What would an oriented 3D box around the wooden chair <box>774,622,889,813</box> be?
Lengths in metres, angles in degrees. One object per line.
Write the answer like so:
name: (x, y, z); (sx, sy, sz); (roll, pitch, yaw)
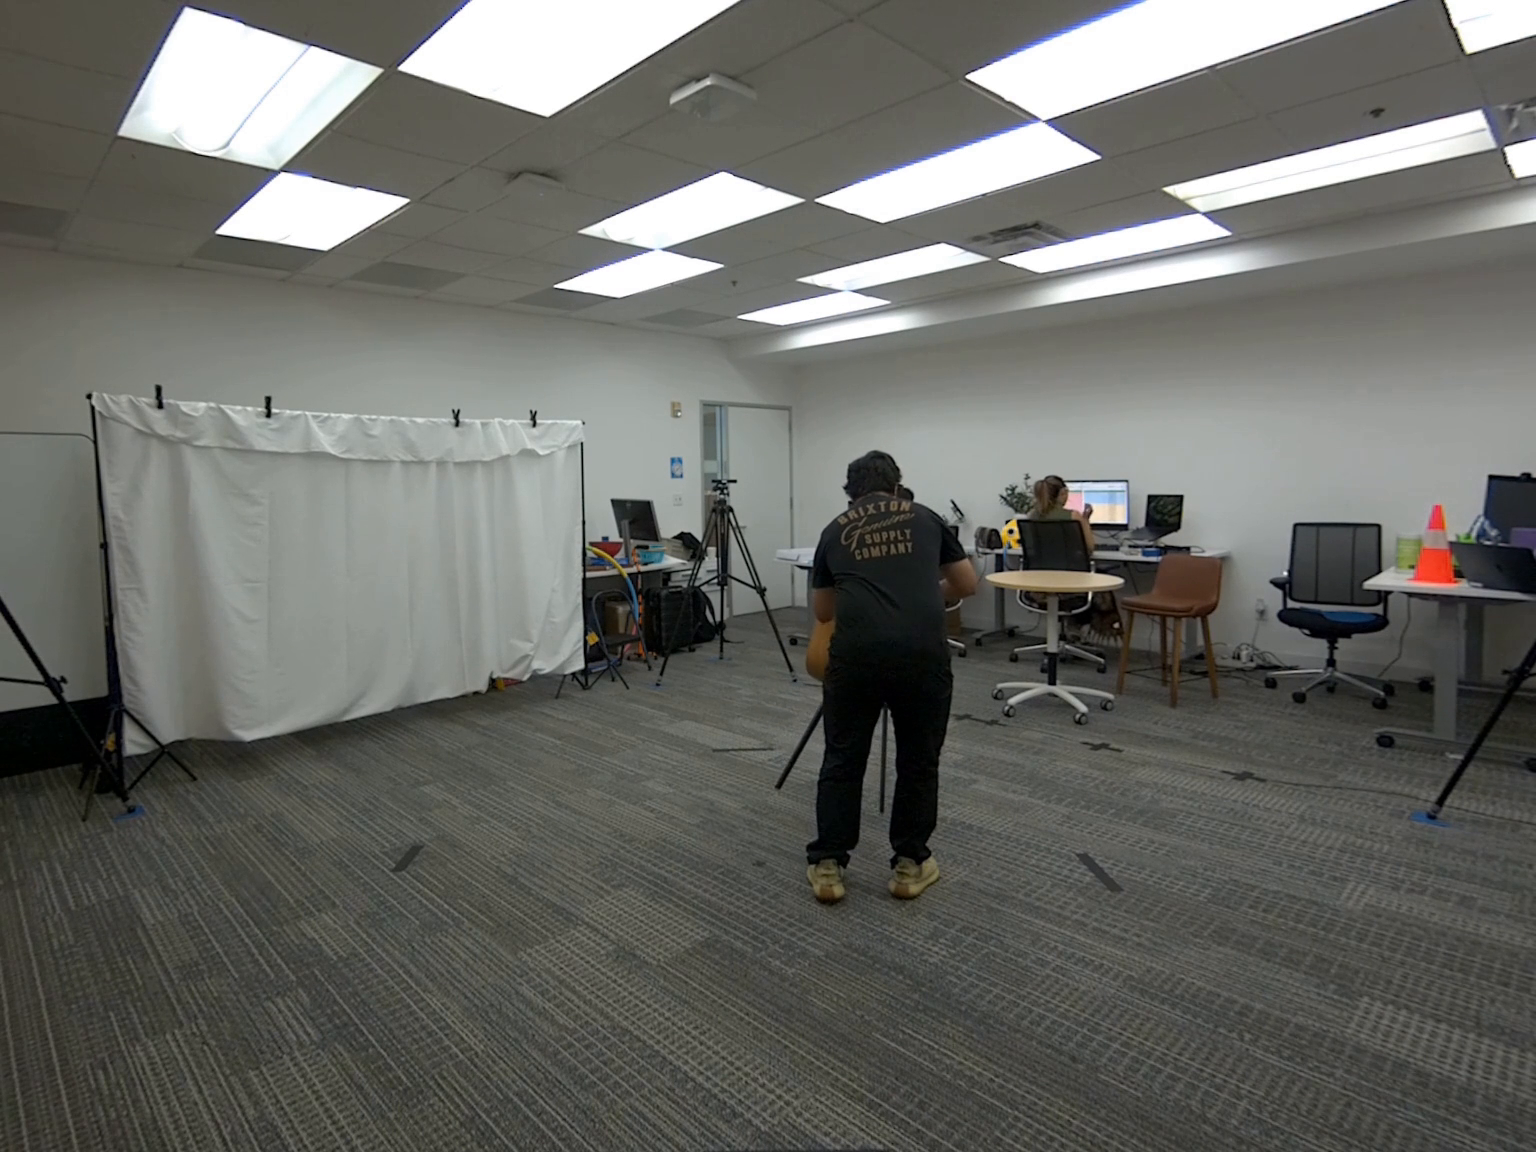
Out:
wooden chair: (0.411, 0.498, 3.463); (0.491, 0.885, 0.504); (1, -14, 32)
